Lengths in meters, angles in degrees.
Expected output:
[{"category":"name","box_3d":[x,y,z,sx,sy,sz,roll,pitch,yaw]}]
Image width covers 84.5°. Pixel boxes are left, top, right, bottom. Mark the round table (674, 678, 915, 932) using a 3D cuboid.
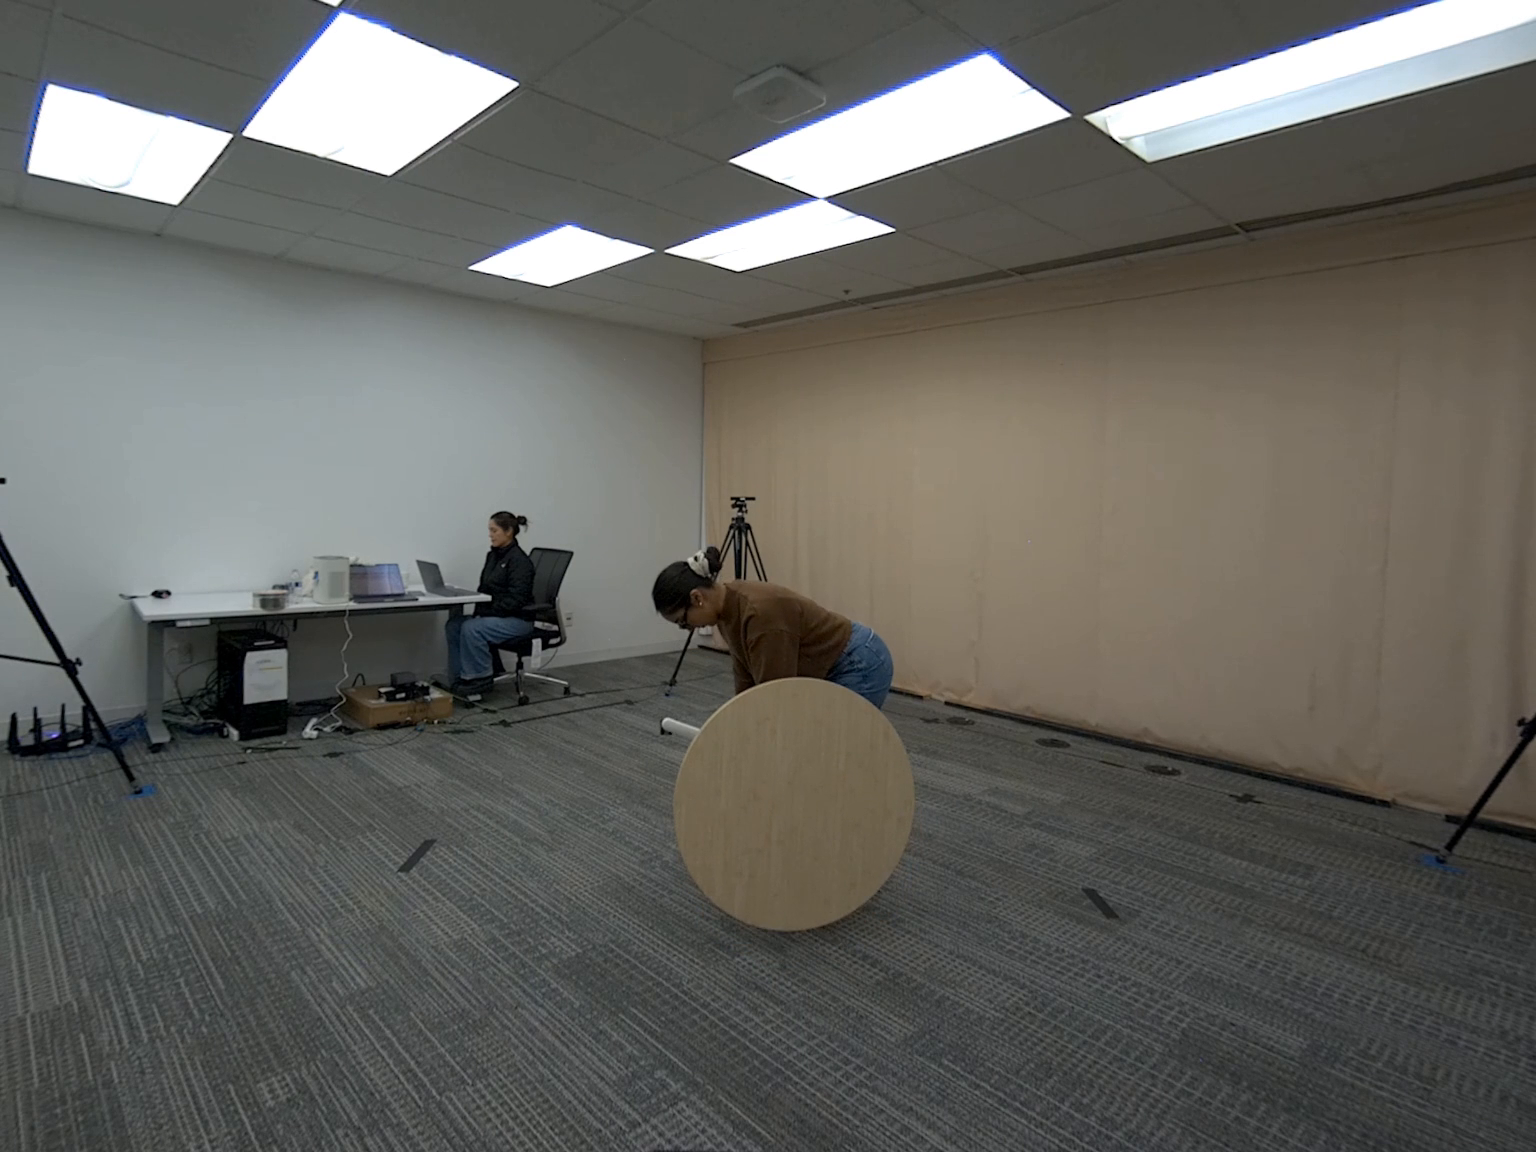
[{"category":"round table","box_3d":[-0.008,0.697,2.965,0.756,0.764,0.801,0,0,-13]}]
